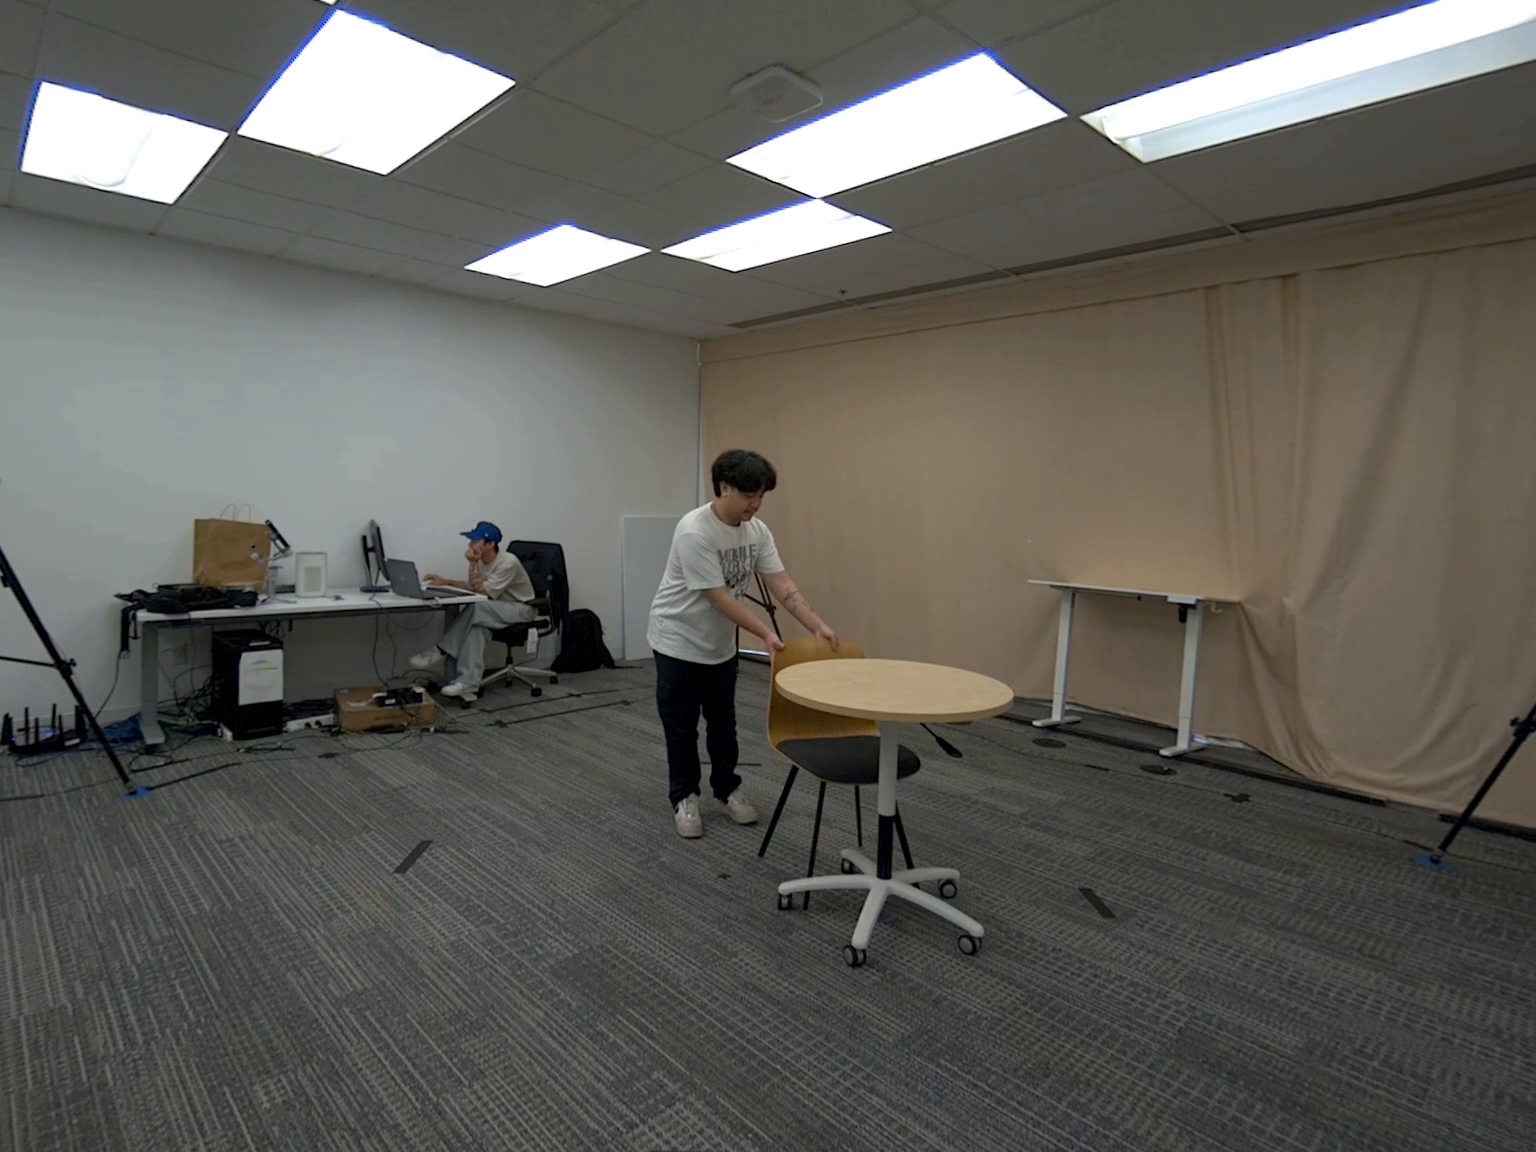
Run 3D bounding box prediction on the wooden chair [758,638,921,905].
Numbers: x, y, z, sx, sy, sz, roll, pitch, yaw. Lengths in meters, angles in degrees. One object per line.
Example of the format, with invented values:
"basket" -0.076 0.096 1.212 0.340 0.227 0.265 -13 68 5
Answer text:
"wooden chair" 0.252 0.689 3.105 0.471 0.878 0.531 1 -1 -20
